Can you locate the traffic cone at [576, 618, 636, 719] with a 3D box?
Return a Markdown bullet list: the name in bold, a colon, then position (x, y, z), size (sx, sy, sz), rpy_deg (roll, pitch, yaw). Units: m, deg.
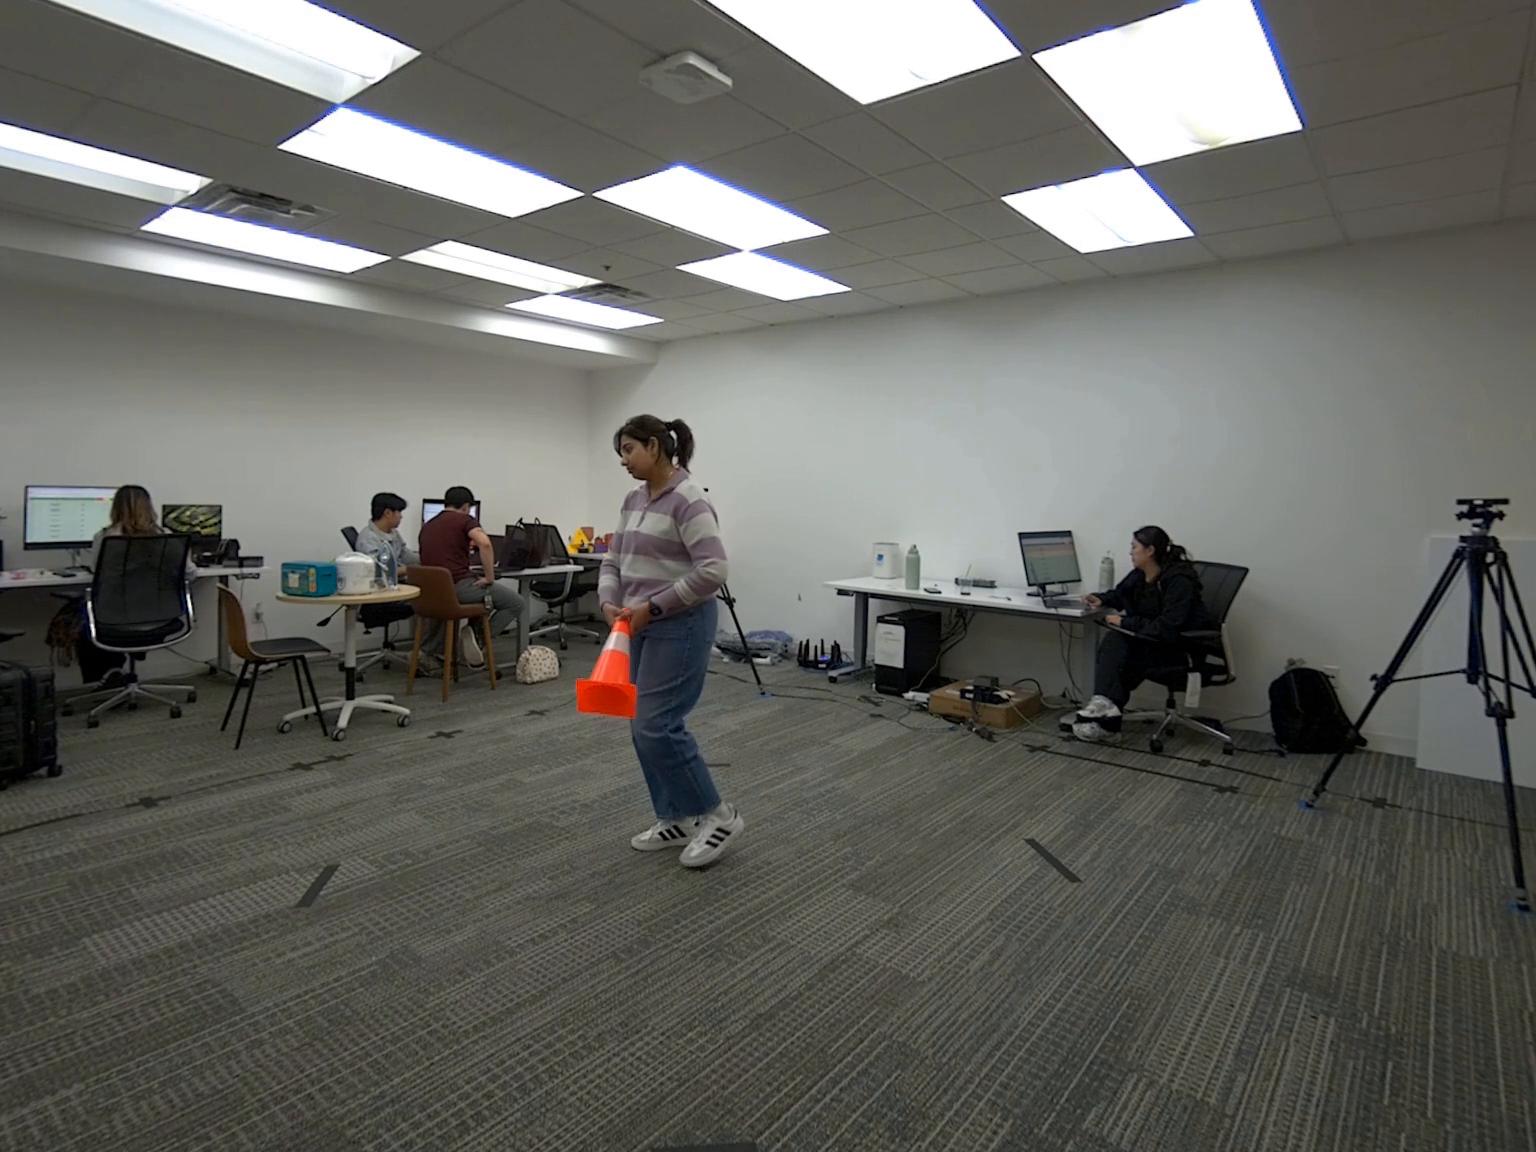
- **traffic cone**: position (-0.527, 0.266, 2.971), size (0.206, 0.197, 0.392), rpy_deg (5, 47, 4)
